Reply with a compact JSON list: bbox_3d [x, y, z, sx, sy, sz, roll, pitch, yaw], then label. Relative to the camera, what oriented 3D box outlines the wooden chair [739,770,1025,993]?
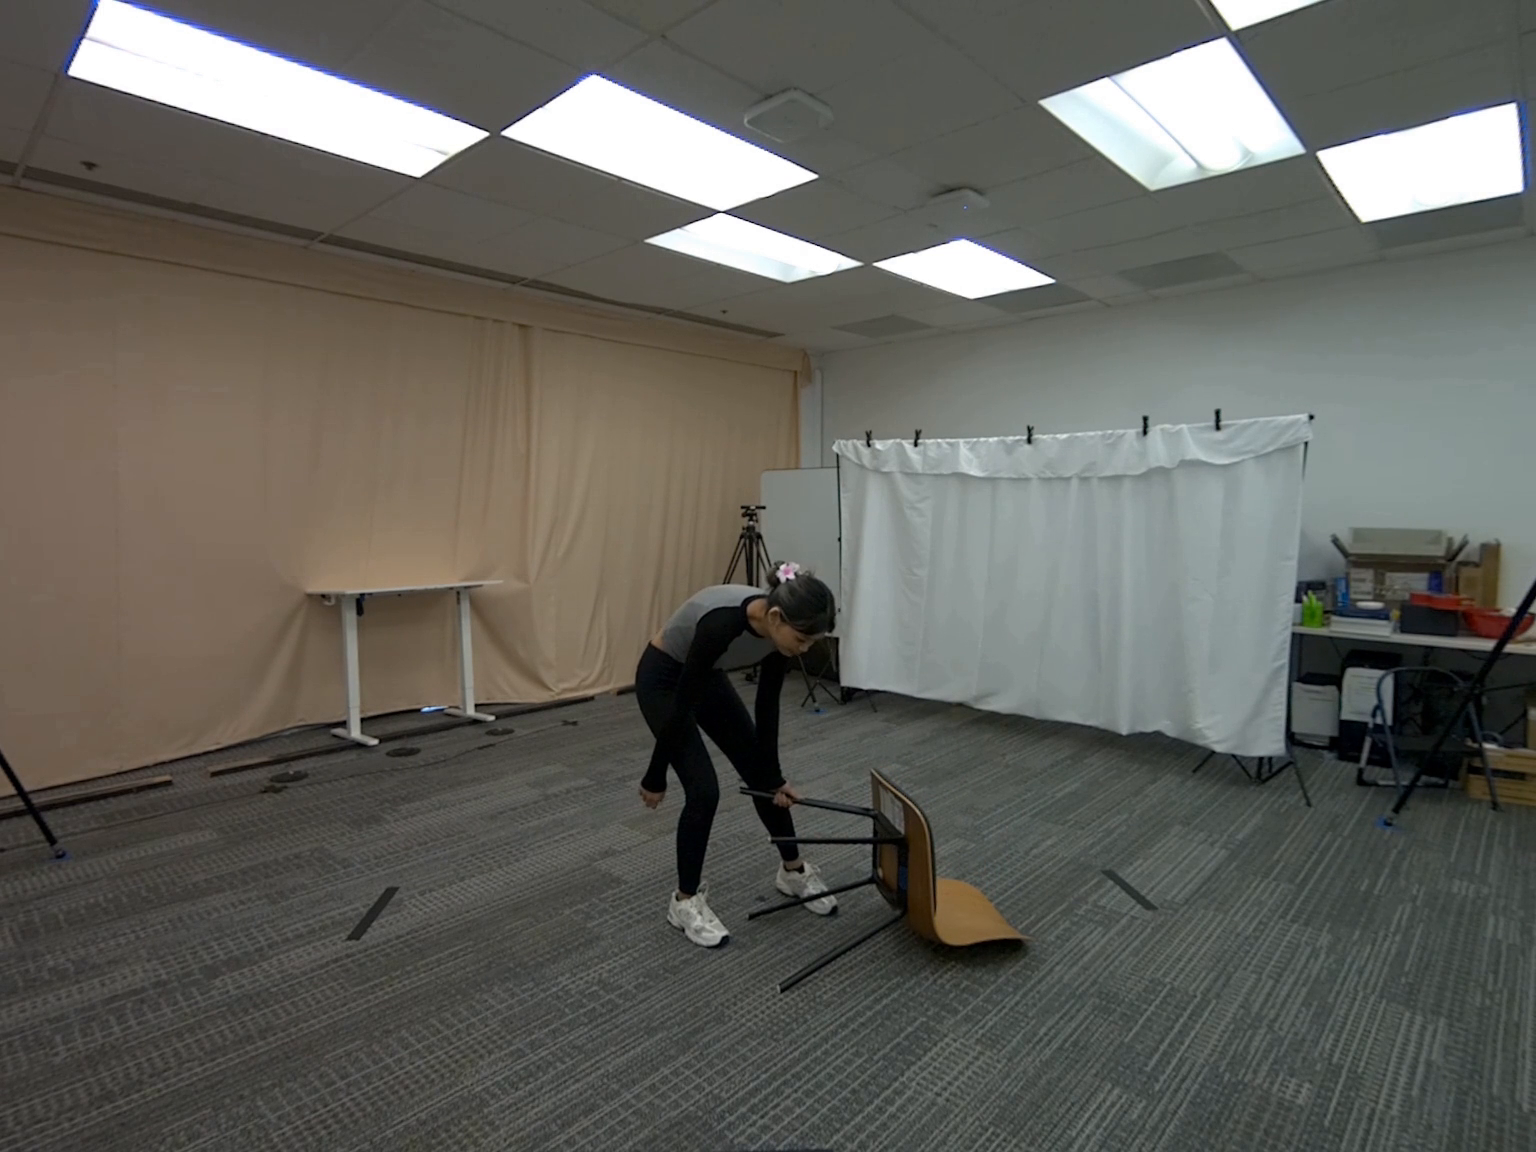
[{"bbox_3d":[0.386,0.906,2.674,0.868,0.522,0.484,0,4,-10],"label":"wooden chair"}]
